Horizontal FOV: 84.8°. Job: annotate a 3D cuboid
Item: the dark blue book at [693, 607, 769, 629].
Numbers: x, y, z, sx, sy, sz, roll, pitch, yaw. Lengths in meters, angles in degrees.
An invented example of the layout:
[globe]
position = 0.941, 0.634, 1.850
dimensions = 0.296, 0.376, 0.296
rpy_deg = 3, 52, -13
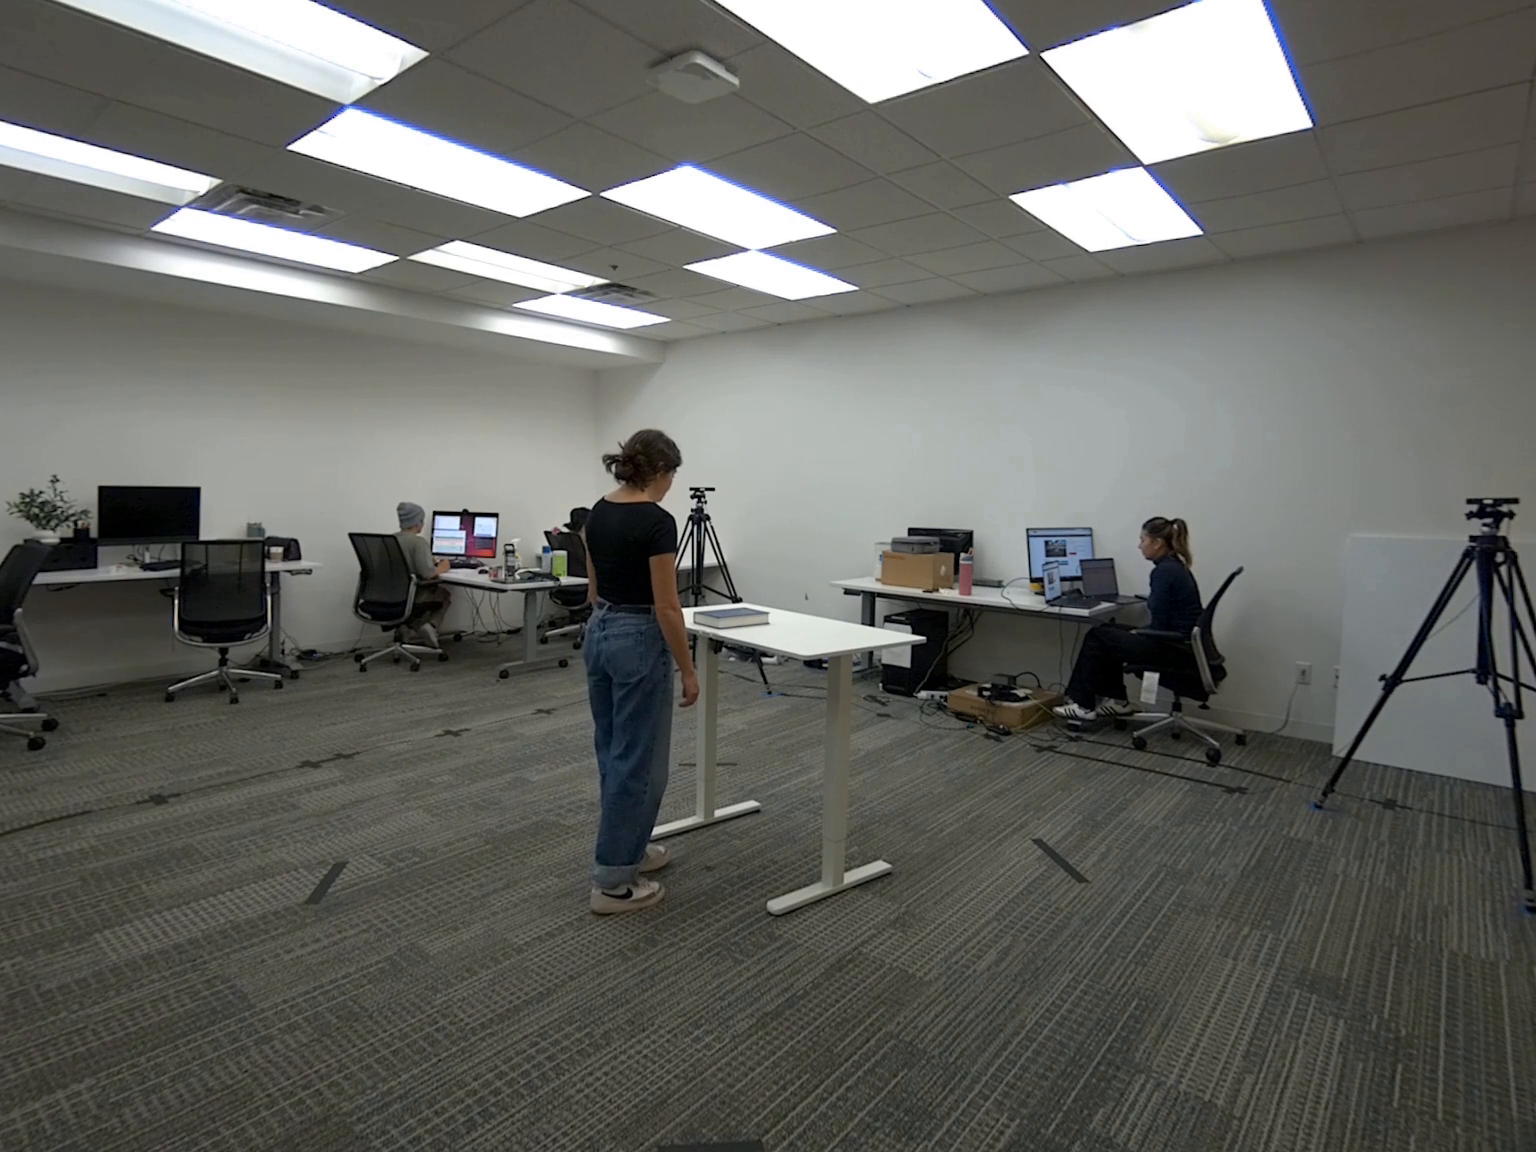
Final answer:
[dark blue book]
position = -0.149, 0.158, 3.202
dimensions = 0.238, 0.045, 0.169
rpy_deg = -3, 7, -40
